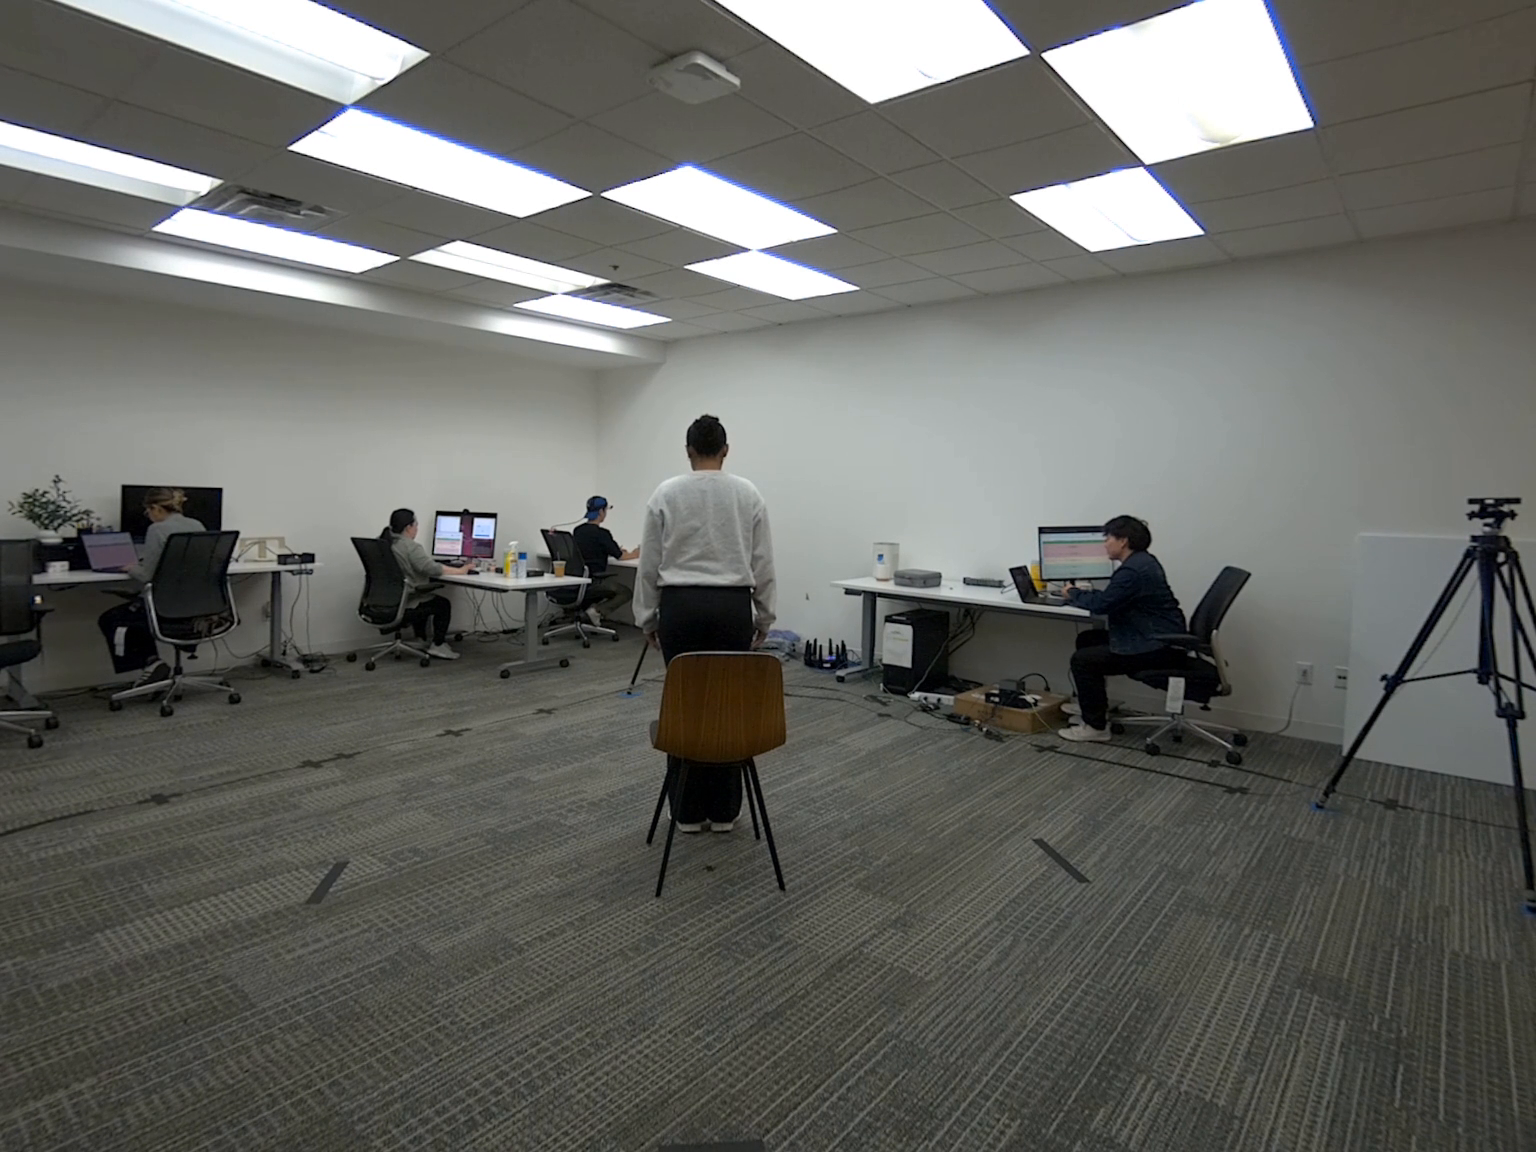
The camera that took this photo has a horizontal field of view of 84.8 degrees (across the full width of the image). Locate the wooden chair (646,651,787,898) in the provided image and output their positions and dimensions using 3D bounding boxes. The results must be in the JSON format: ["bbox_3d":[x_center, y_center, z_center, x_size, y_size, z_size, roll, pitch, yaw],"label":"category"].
[{"bbox_3d":[-0.208,0.634,3.109,0.473,0.872,0.533,0,7,-11],"label":"wooden chair"}]
